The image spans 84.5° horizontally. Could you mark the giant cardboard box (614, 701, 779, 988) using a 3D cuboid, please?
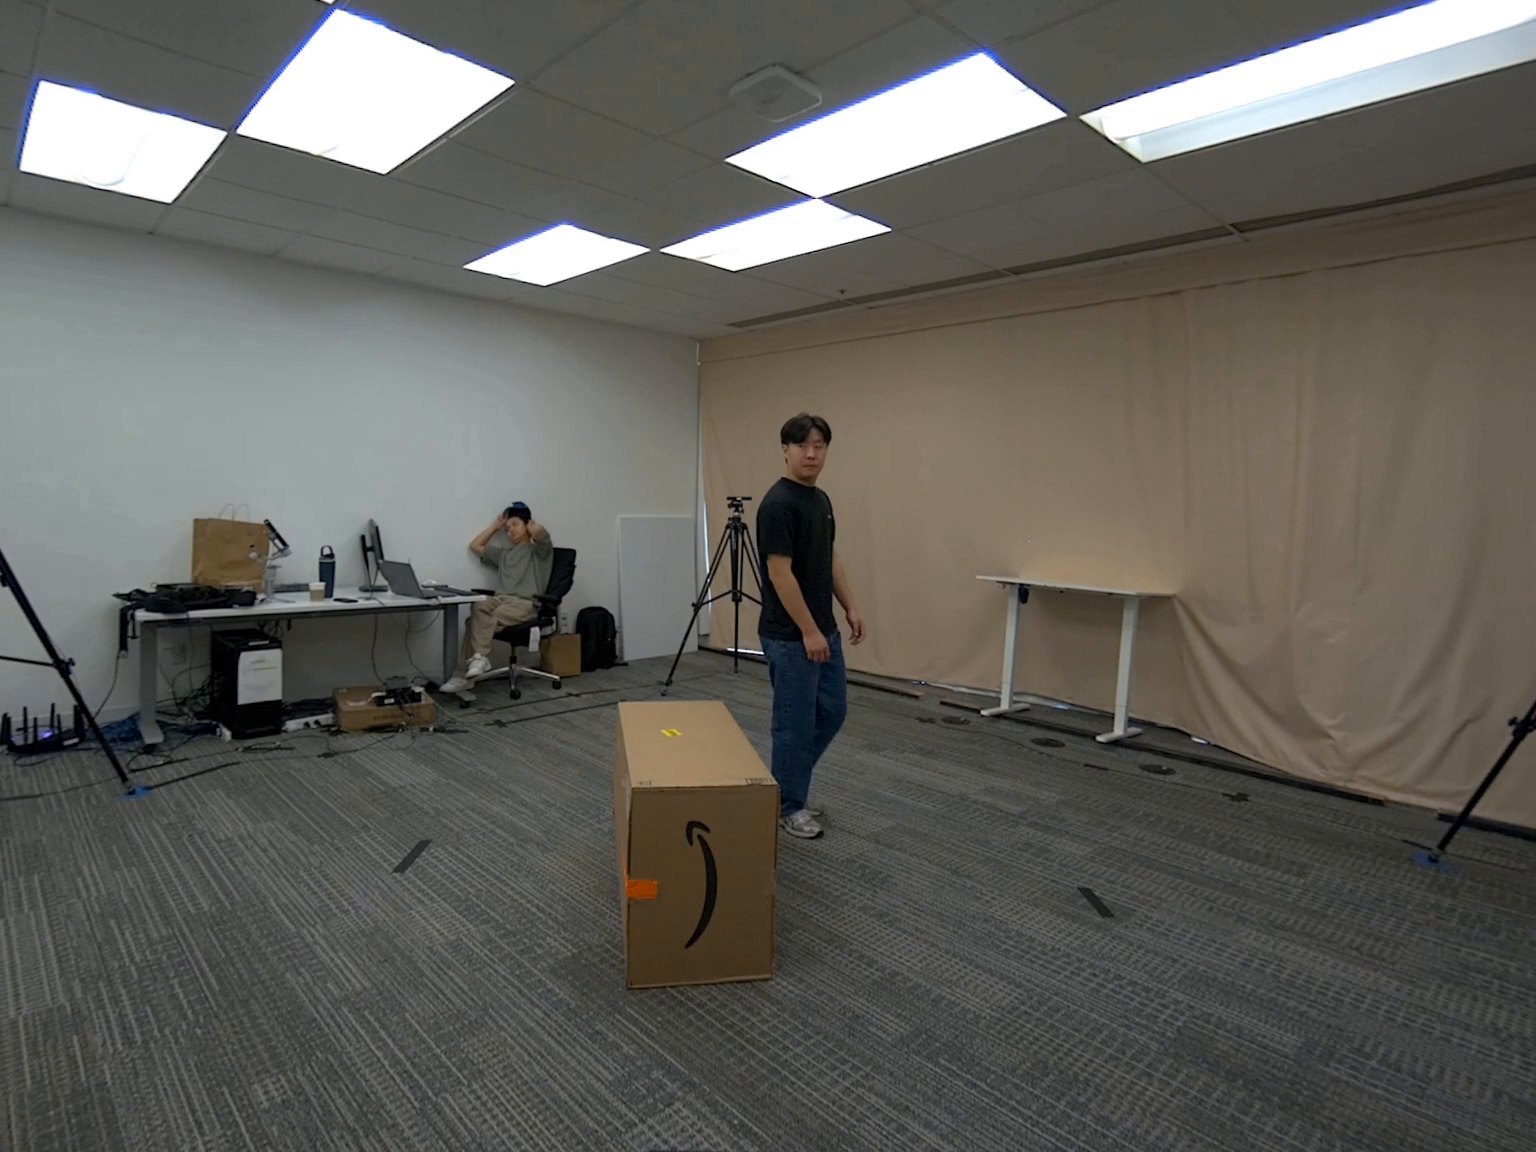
[{"bbox_3d":[-0.296,0.835,2.891,0.443,0.582,1.039,0,4,-13],"label":"giant cardboard box"}]
